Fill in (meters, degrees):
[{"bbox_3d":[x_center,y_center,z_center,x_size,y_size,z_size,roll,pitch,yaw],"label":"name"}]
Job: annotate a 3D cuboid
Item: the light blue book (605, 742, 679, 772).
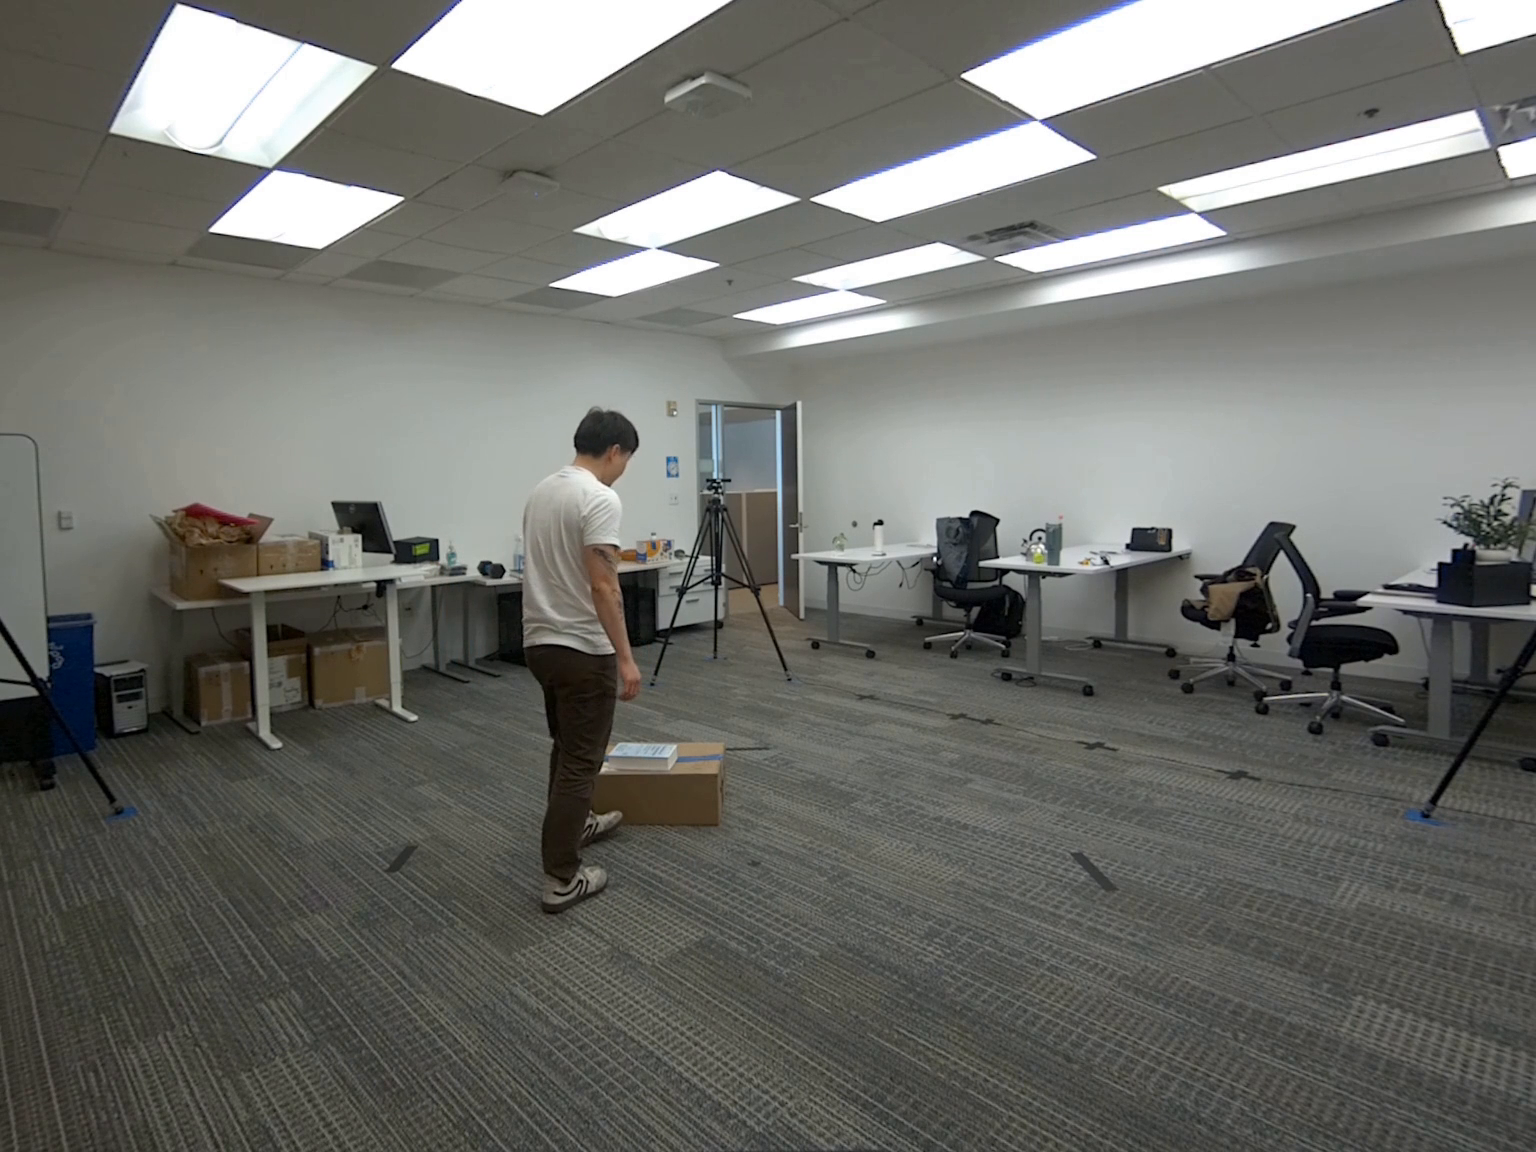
[{"bbox_3d":[-0.526,0.763,3.616,0.263,0.059,0.190,0,5,8],"label":"light blue book"}]
